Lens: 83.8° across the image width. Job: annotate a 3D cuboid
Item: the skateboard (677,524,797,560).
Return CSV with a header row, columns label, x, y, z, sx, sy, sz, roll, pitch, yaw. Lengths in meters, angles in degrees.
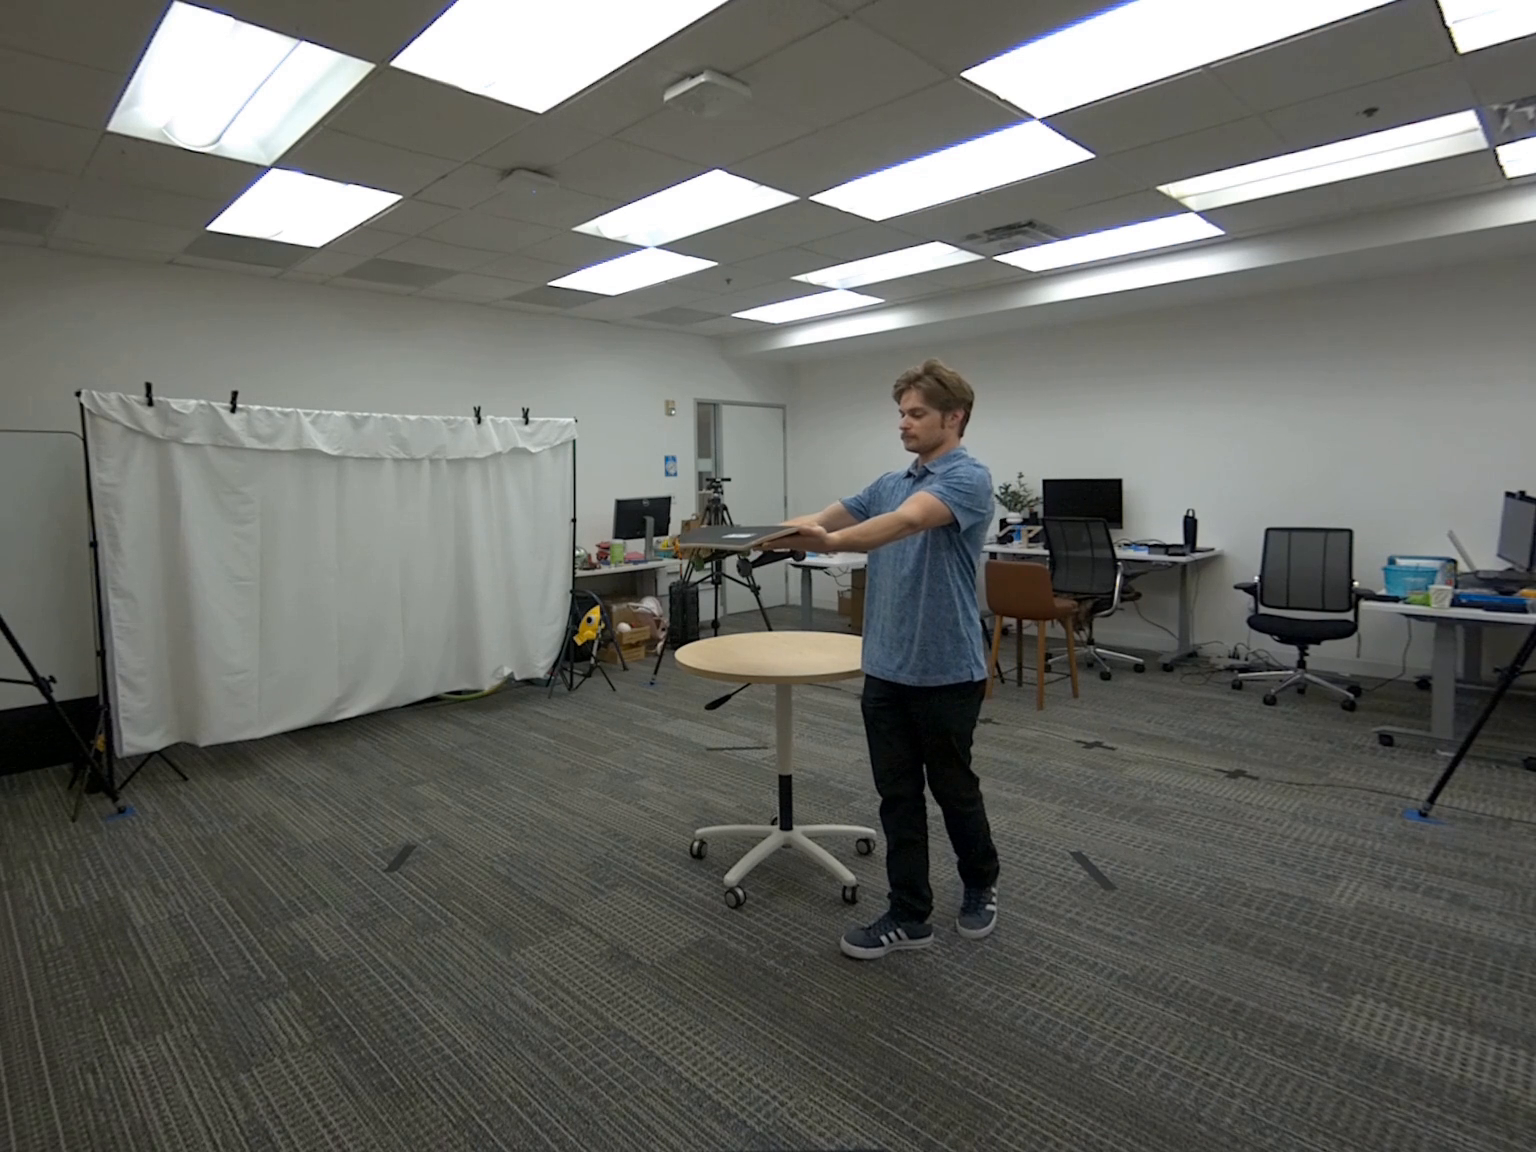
label,x,y,z,sx,sy,sz,roll,pitch,yaw
skateboard,-0.065,-0.077,2.346,0.191,0.109,0.801,-18,9,-20
